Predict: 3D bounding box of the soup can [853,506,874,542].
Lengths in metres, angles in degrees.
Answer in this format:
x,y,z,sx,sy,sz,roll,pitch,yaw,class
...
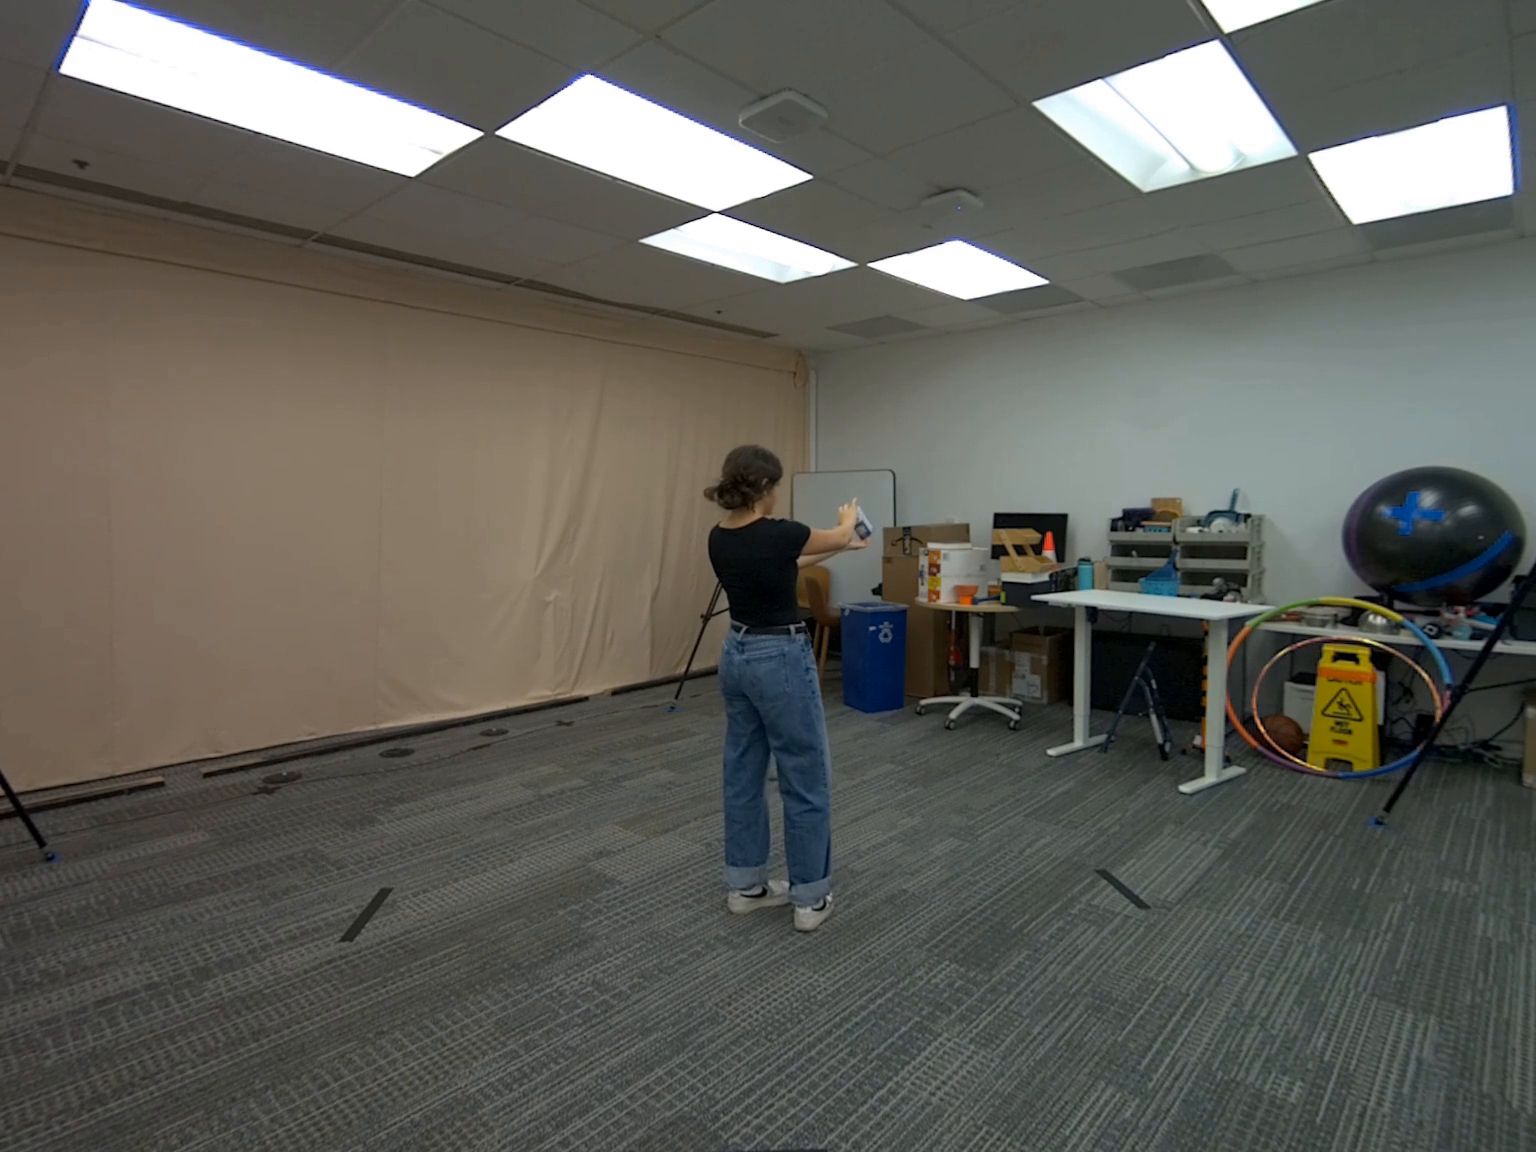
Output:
x,y,z,sx,sy,sz,roll,pitch,yaw,class
0.358,-0.205,3.240,0.067,0.120,0.067,-27,7,2,soup can
